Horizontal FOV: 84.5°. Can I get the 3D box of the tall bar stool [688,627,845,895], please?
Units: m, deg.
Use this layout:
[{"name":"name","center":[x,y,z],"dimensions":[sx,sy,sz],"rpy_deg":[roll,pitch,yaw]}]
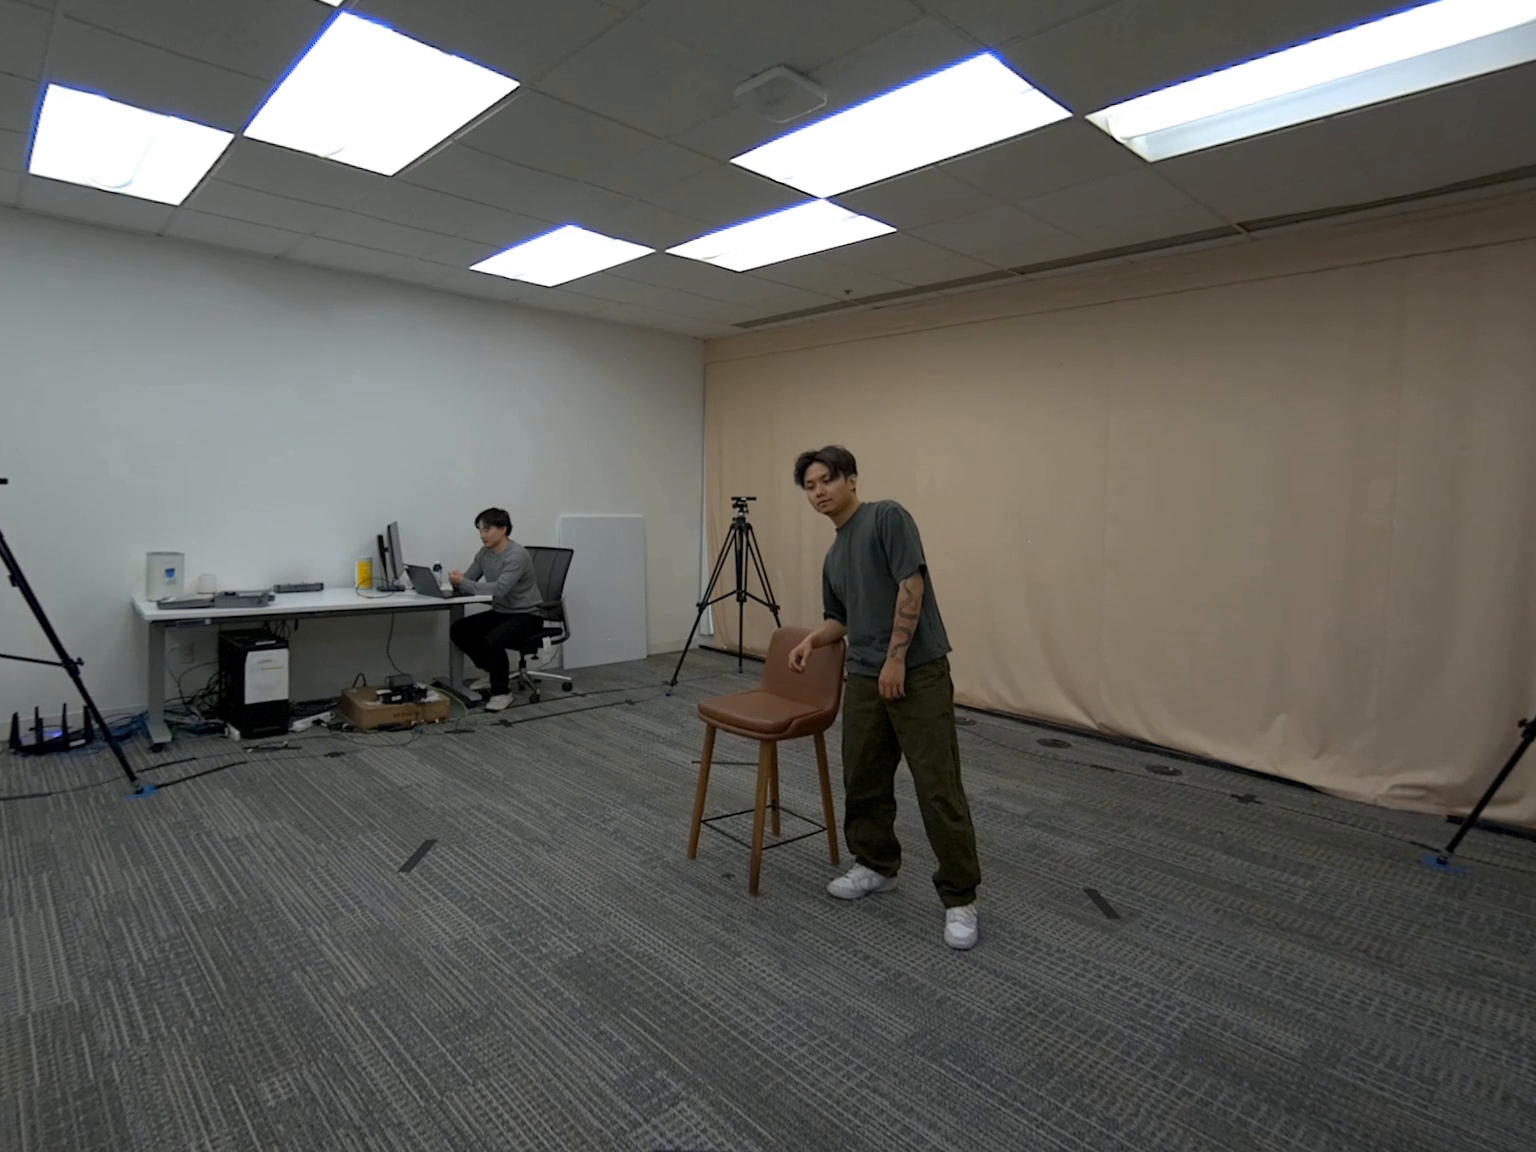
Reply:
[{"name":"tall bar stool","center":[-0.005,0.662,3.225],"dimensions":[0.457,0.889,0.468],"rpy_deg":[1,2,-38]}]
